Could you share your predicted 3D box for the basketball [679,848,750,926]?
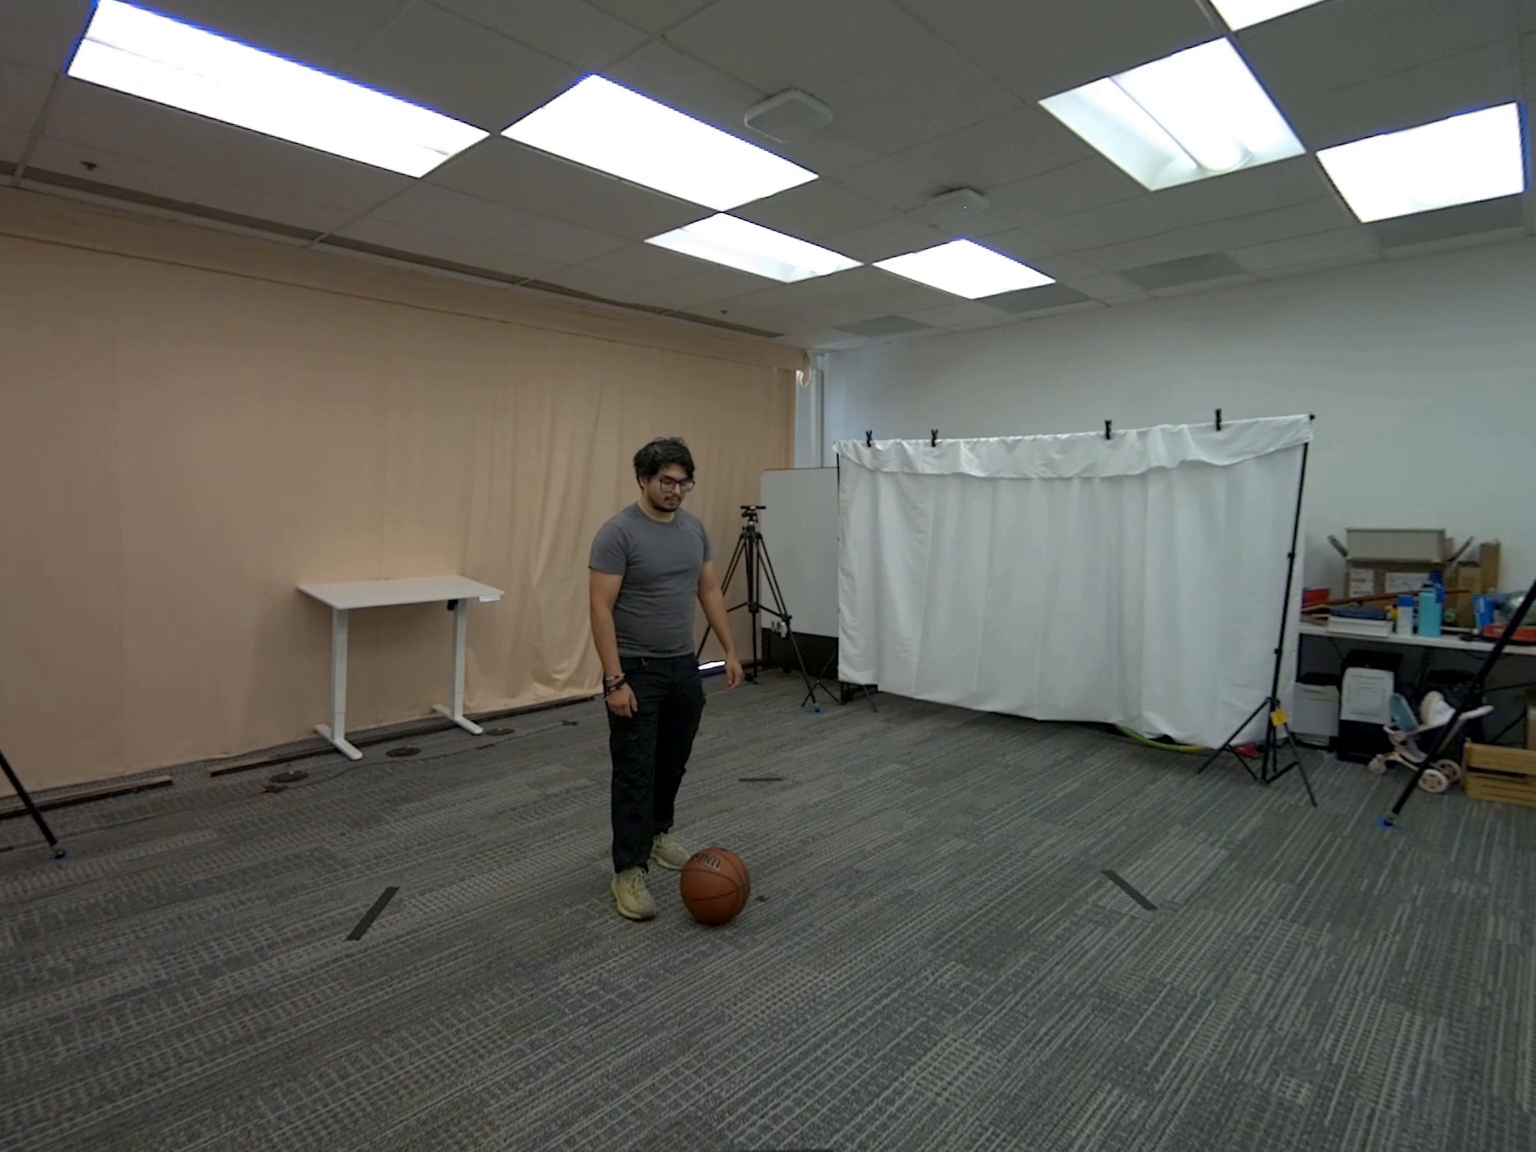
[{"bbox_3d":[-0.173,1.034,2.830,0.236,0.235,0.237,0,4,-2],"label":"basketball"}]
